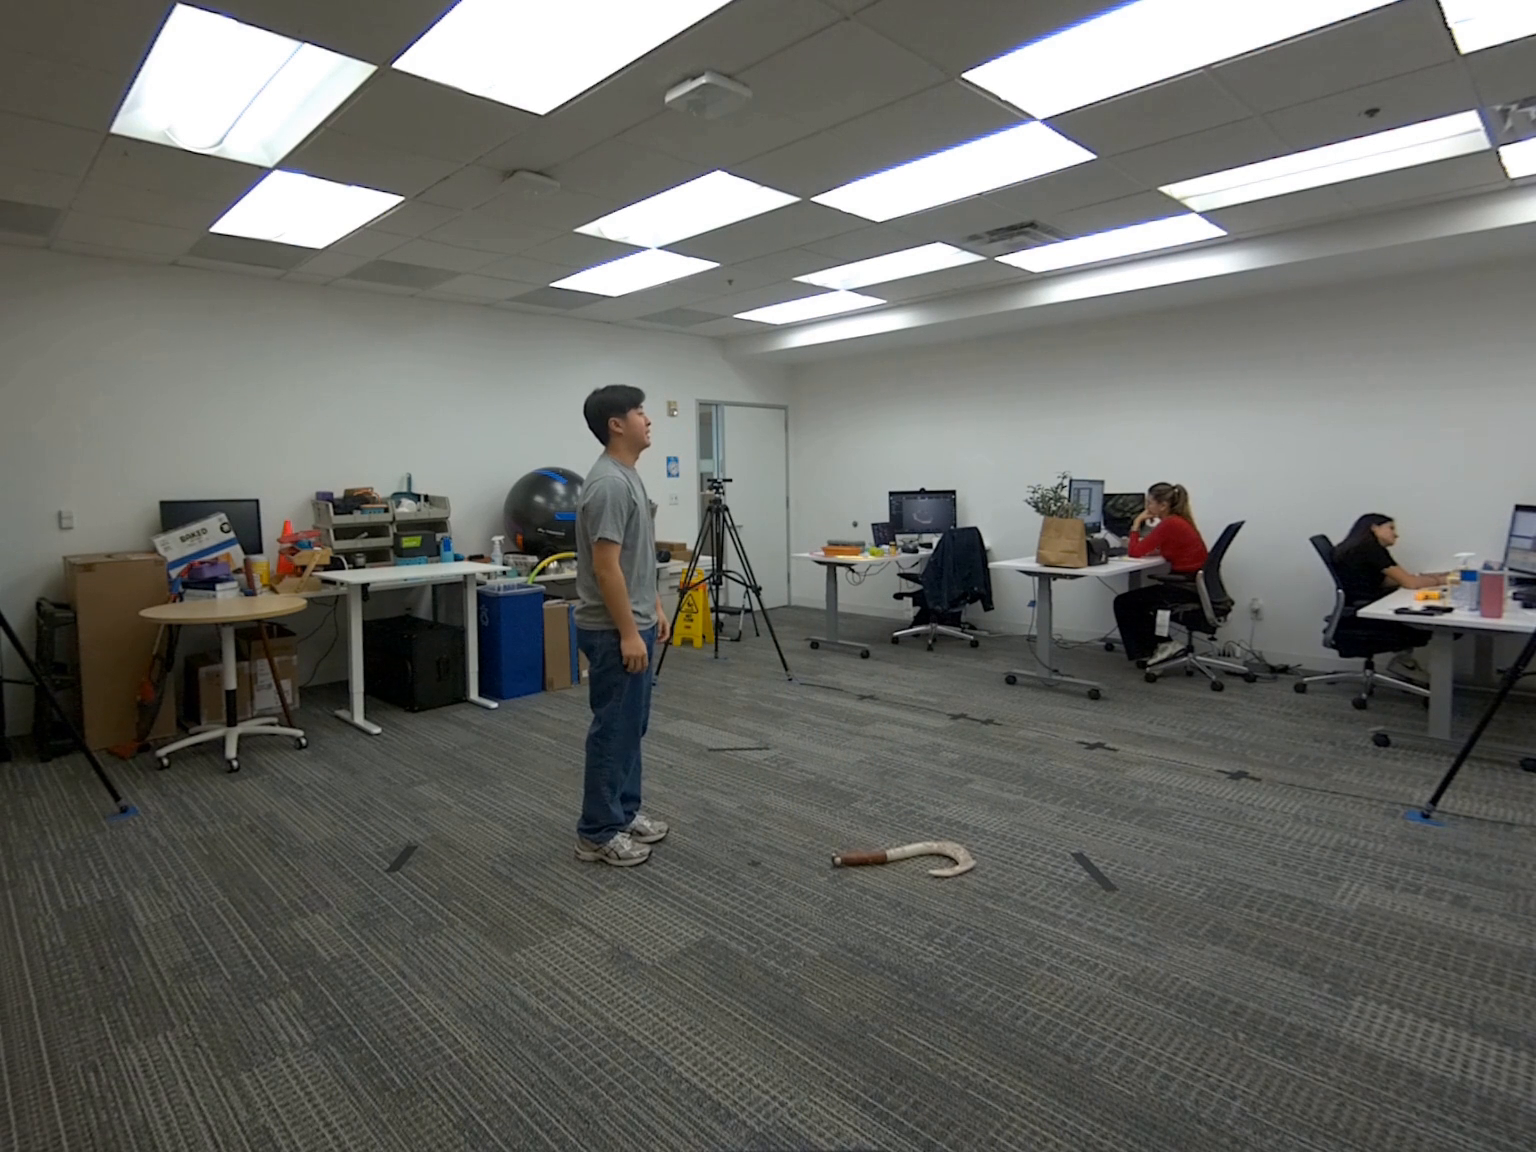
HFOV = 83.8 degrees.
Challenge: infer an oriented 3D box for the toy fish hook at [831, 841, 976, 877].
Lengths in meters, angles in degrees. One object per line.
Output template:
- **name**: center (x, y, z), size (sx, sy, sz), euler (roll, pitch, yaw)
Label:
- **toy fish hook**: center (0.486, 1.011, 3.052), size (0.503, 0.048, 0.227), euler (-2, 5, -8)
